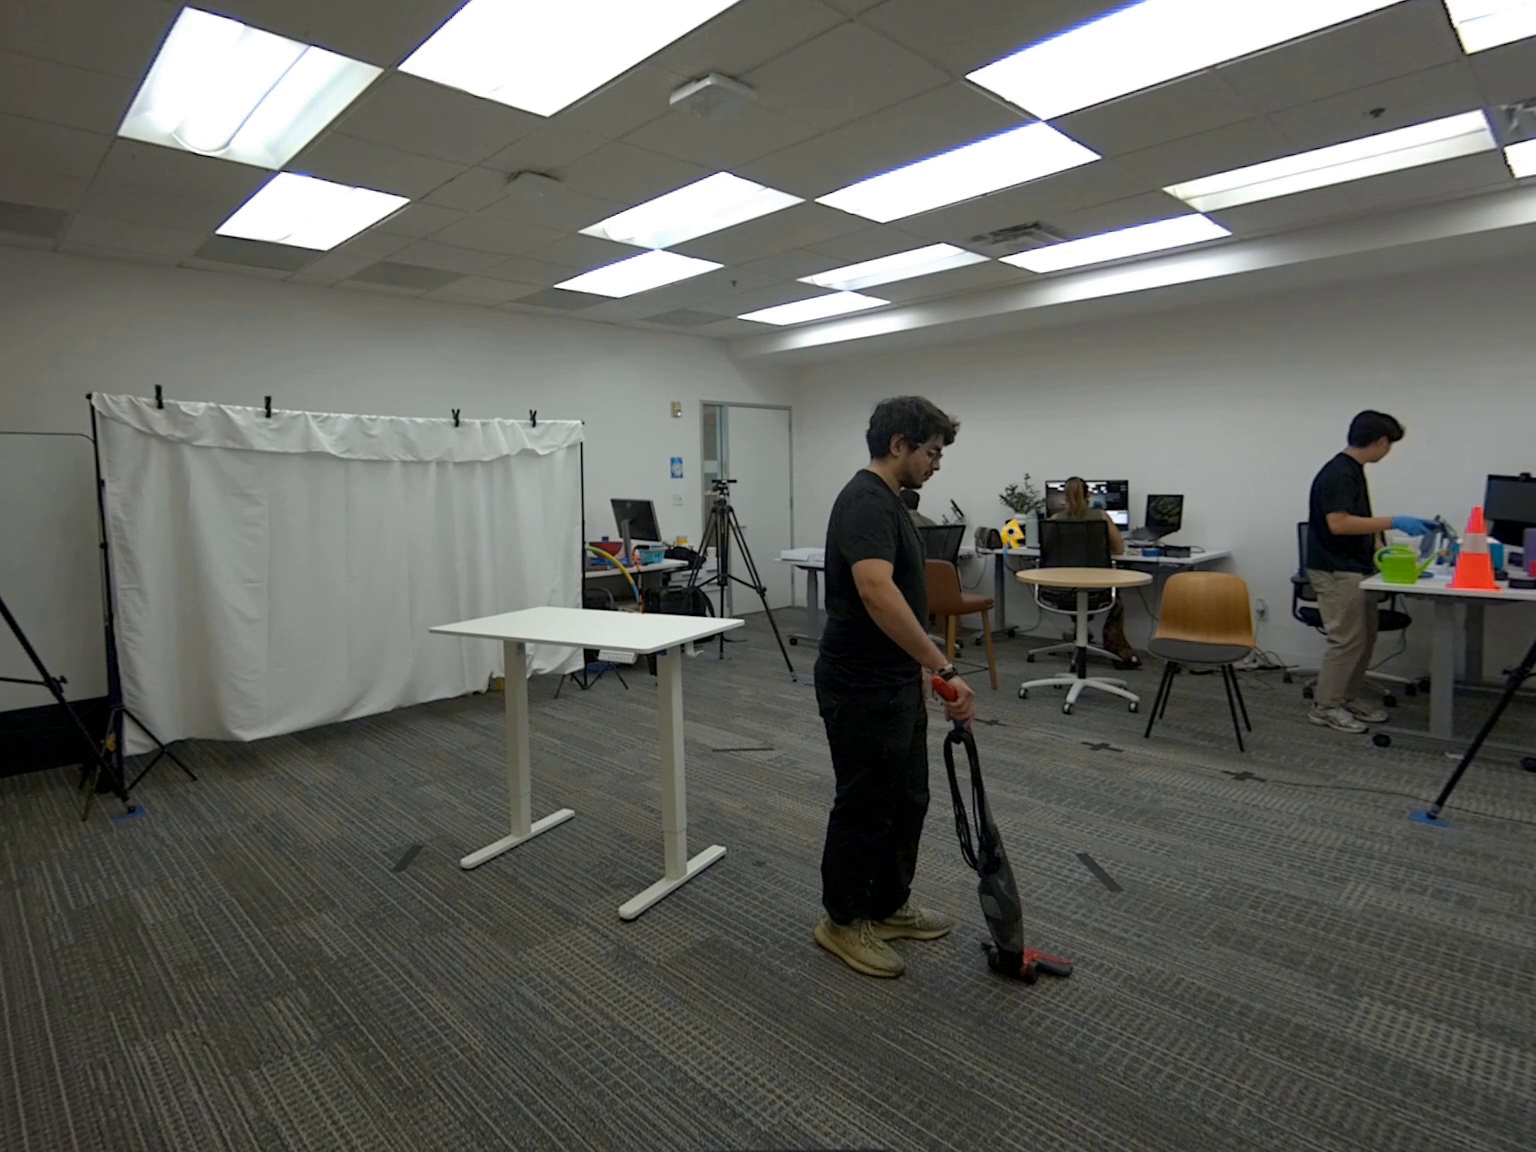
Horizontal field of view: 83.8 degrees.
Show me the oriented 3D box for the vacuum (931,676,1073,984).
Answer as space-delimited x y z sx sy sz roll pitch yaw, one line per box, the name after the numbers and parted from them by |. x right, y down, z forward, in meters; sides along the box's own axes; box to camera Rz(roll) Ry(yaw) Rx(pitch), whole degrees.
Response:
0.572 0.673 2.201 0.260 1.020 0.143 5 36 41 | vacuum
